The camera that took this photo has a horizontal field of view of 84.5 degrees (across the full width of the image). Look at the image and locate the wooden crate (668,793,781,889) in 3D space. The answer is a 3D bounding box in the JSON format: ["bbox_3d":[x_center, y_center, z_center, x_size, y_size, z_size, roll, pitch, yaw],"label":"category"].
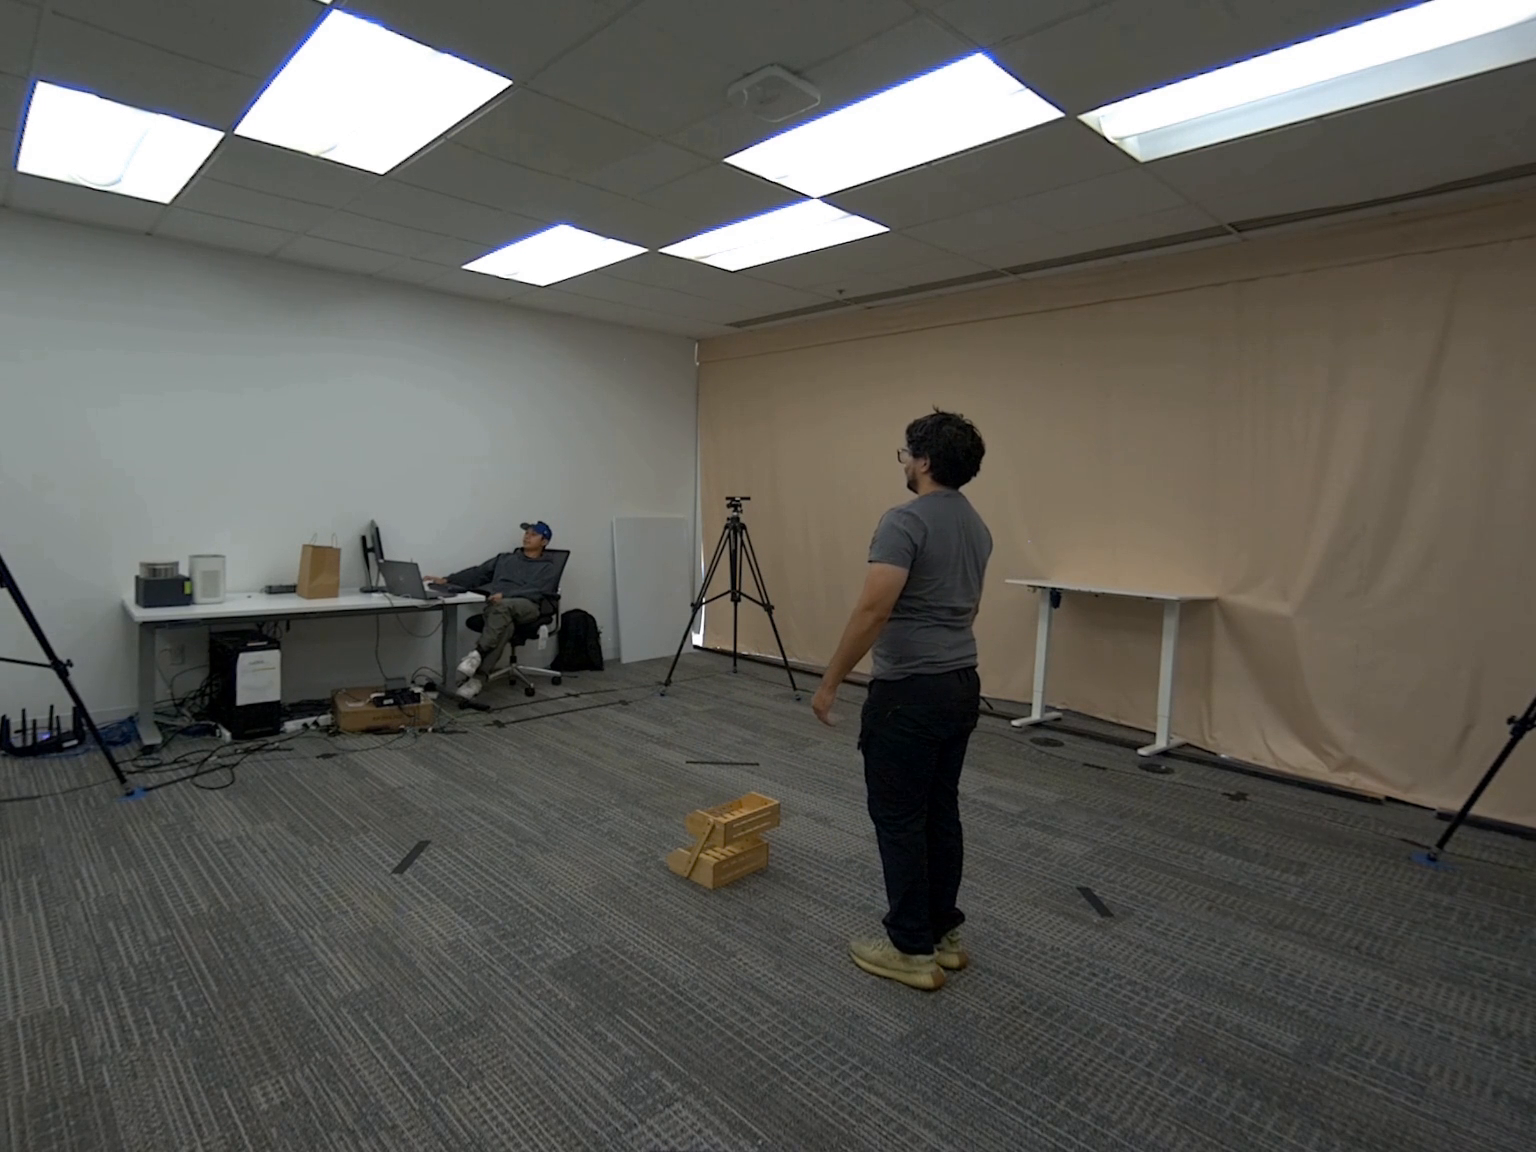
[{"bbox_3d":[-0.177,0.968,3.155,0.310,0.272,0.317,5,6,42],"label":"wooden crate"}]
